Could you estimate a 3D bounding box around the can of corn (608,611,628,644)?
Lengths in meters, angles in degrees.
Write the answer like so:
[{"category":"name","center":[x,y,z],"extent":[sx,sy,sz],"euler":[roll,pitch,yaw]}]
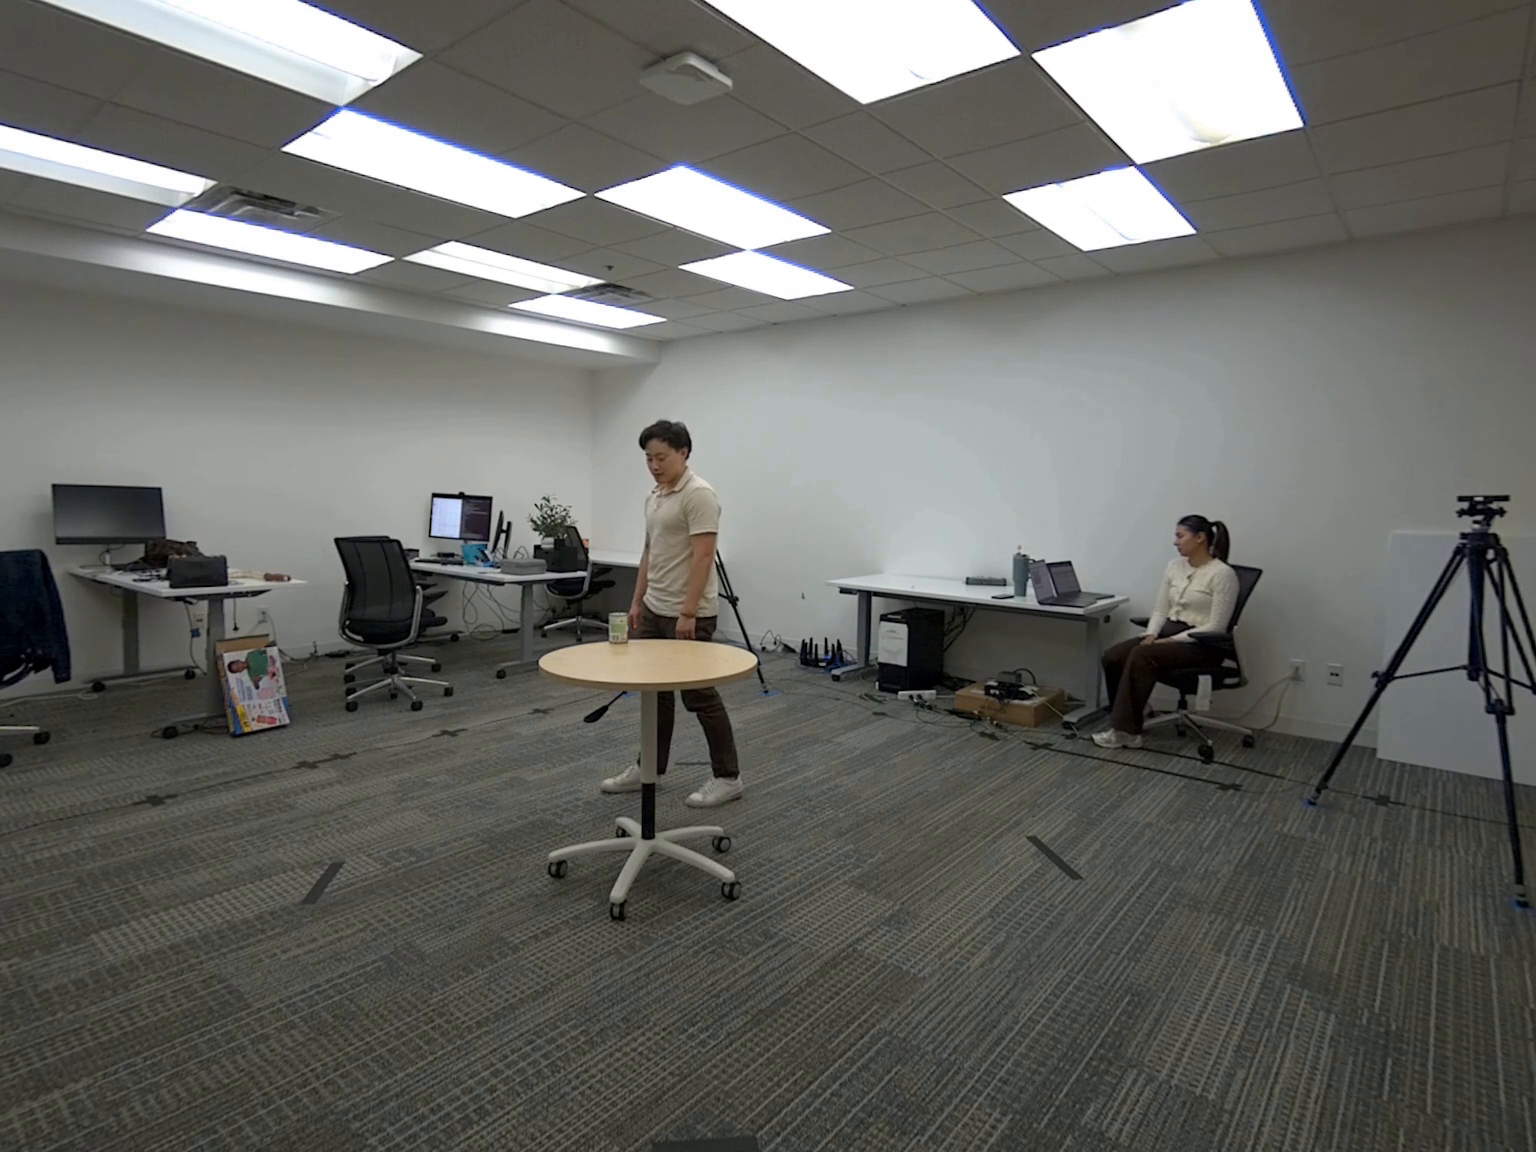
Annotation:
[{"category":"can of corn","center":[-0.603,0.200,3.310],"extent":[0.074,0.111,0.074],"euler":[-1,2,-2]}]
